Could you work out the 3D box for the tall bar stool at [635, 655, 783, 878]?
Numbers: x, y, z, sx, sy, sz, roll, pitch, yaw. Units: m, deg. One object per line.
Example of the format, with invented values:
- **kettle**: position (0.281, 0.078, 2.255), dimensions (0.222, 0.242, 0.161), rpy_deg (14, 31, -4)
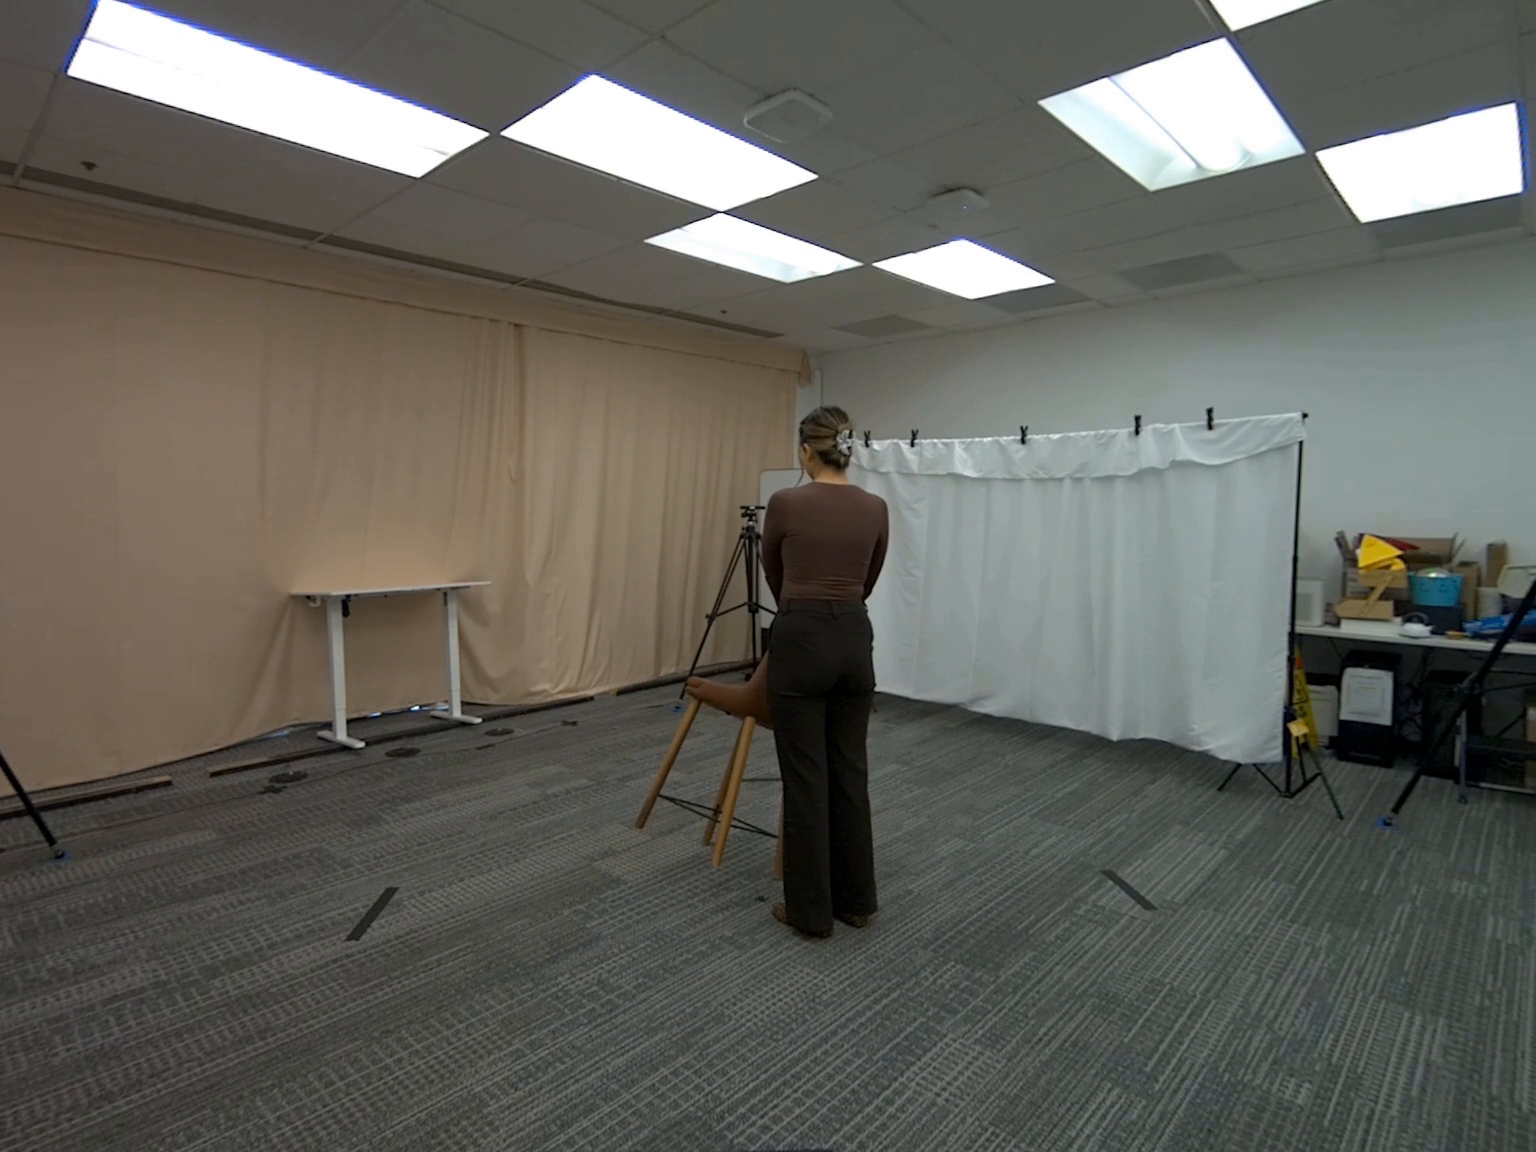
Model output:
- **tall bar stool**: position (-0.092, 0.645, 3.278), dimensions (0.484, 0.892, 0.440), rpy_deg (7, -16, 46)
